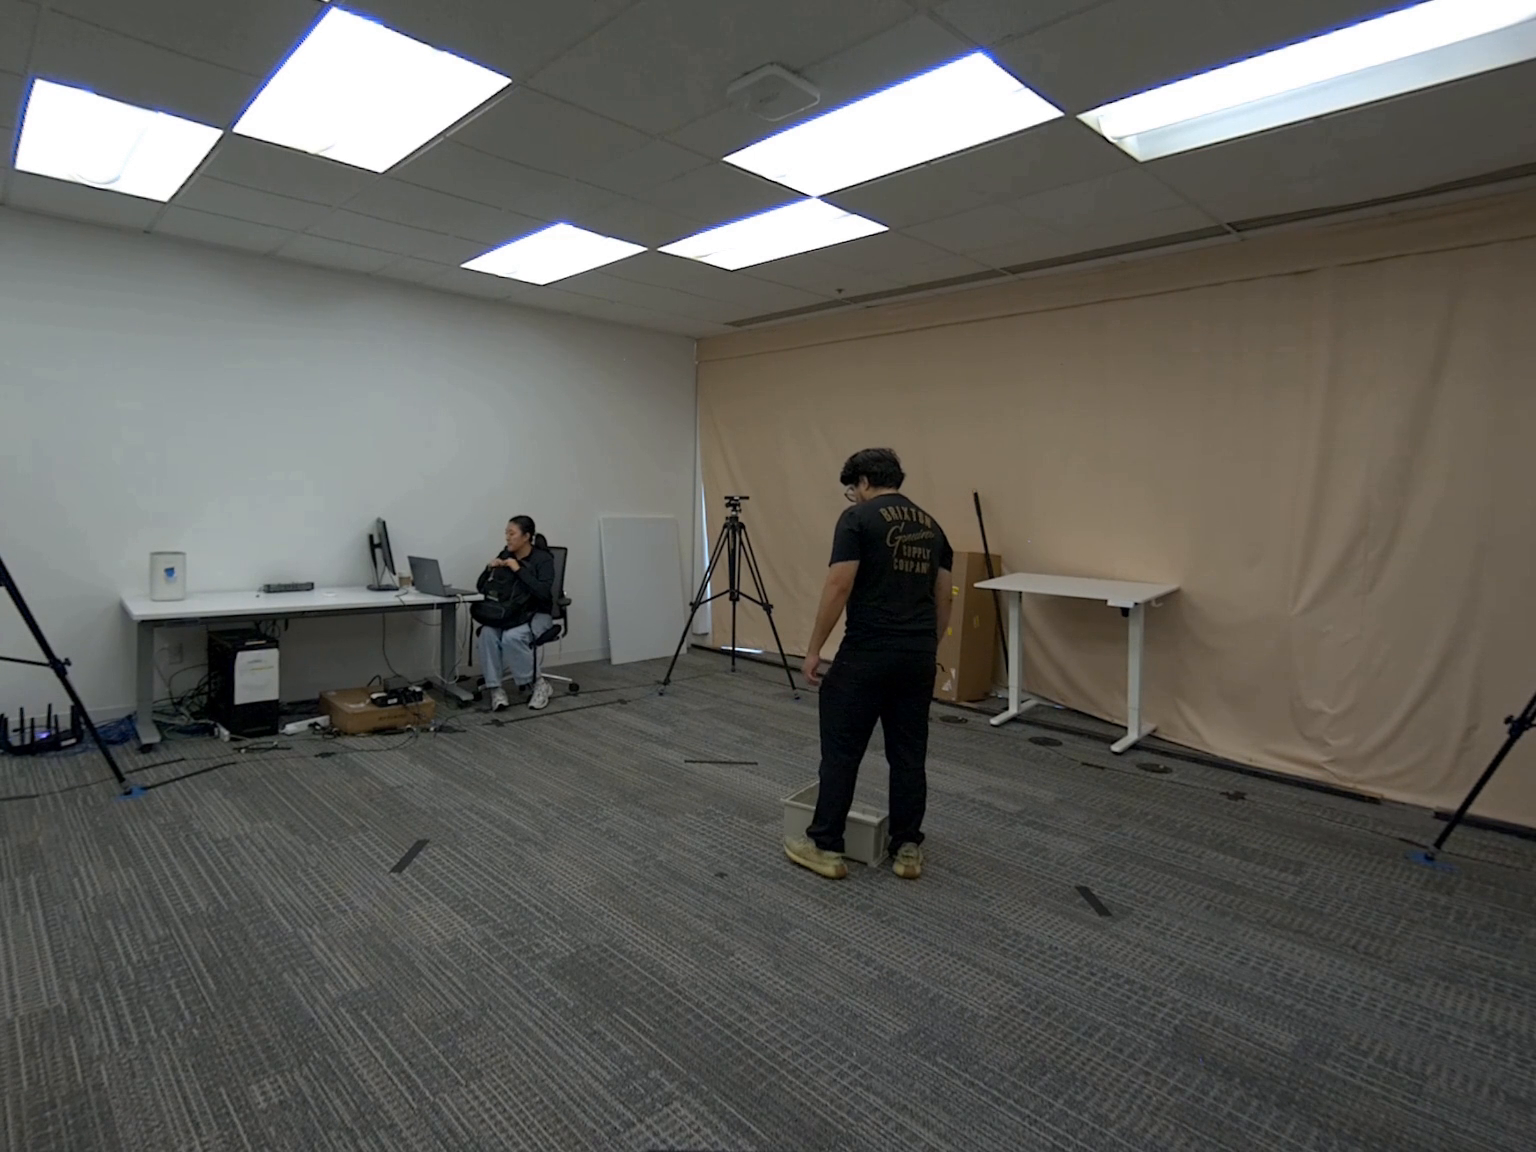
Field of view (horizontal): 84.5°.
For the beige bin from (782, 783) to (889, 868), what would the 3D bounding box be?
[{"bbox_3d":[0.315,0.995,3.452,0.432,0.188,0.370,4,6,31],"label":"beige bin"}]
